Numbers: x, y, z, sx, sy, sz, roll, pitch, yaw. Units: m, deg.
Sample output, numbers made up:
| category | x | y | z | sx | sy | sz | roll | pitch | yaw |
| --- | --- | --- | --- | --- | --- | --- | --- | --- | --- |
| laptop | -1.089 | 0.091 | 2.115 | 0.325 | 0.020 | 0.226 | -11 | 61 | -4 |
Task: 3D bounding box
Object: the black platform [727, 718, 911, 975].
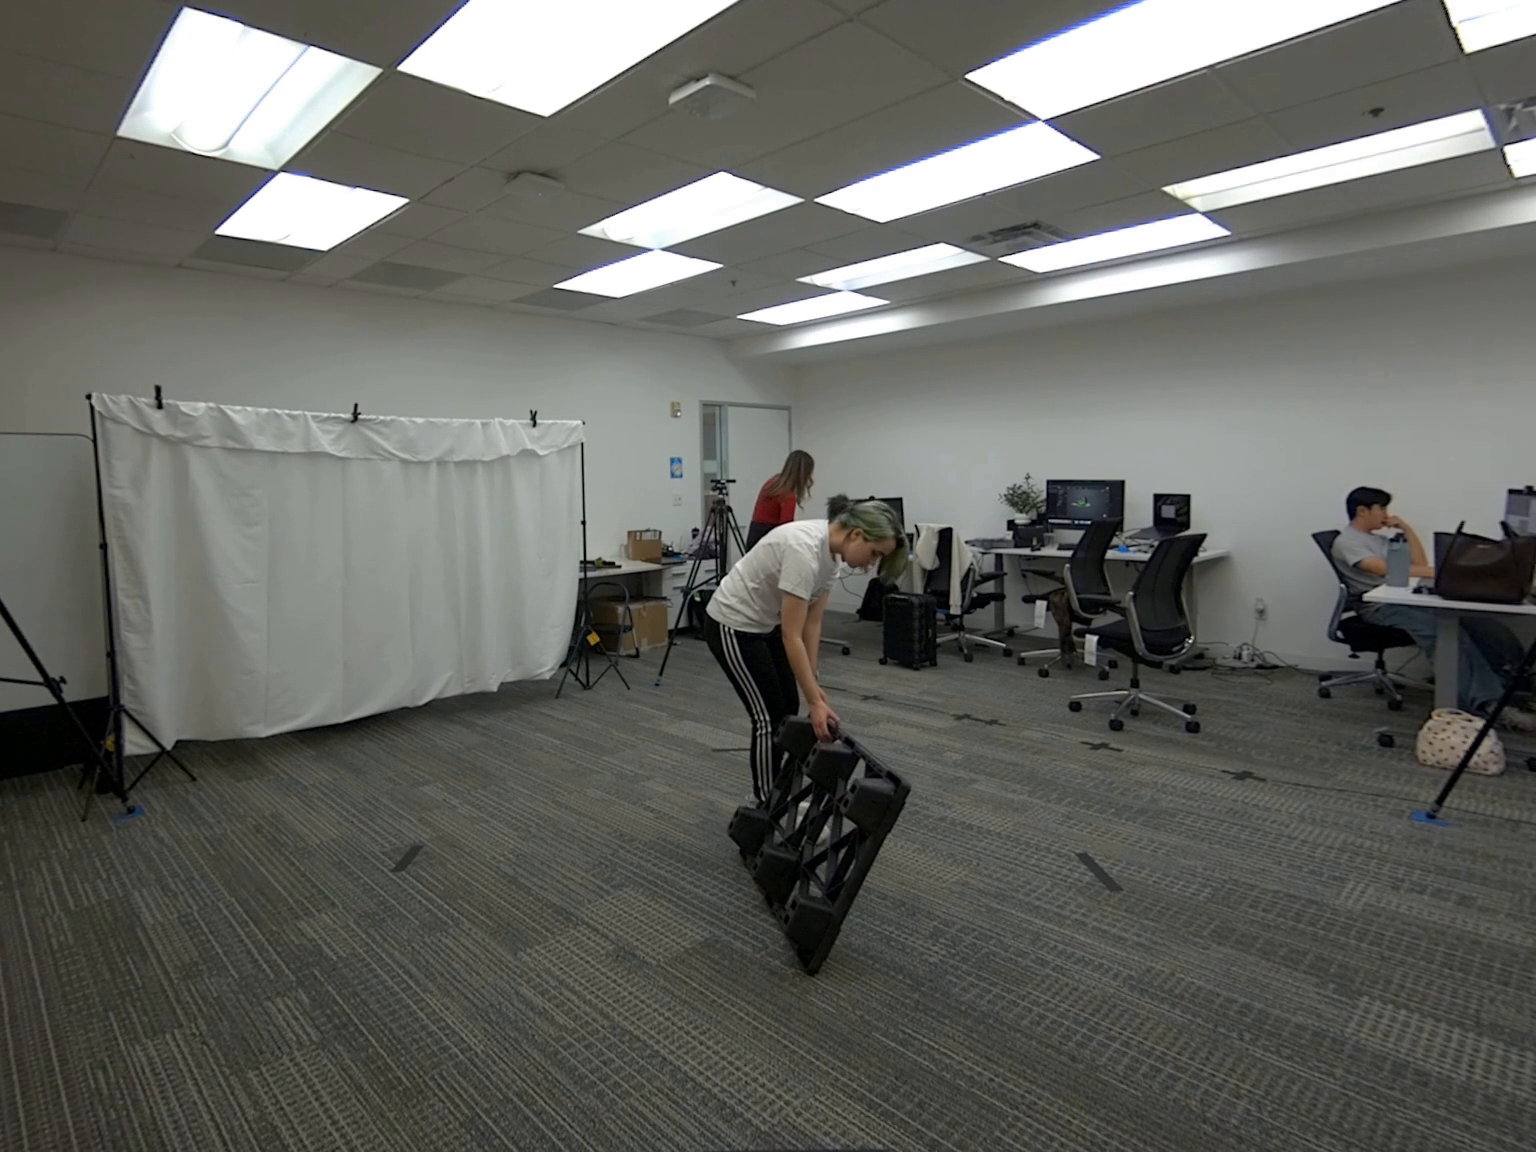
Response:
| category | x | y | z | sx | sy | sz | roll | pitch | yaw |
| --- | --- | --- | --- | --- | --- | --- | --- | --- | --- |
| black platform | 0.115 | 0.792 | 2.778 | 0.141 | 0.606 | 0.819 | 27 | -2 | -16 |
